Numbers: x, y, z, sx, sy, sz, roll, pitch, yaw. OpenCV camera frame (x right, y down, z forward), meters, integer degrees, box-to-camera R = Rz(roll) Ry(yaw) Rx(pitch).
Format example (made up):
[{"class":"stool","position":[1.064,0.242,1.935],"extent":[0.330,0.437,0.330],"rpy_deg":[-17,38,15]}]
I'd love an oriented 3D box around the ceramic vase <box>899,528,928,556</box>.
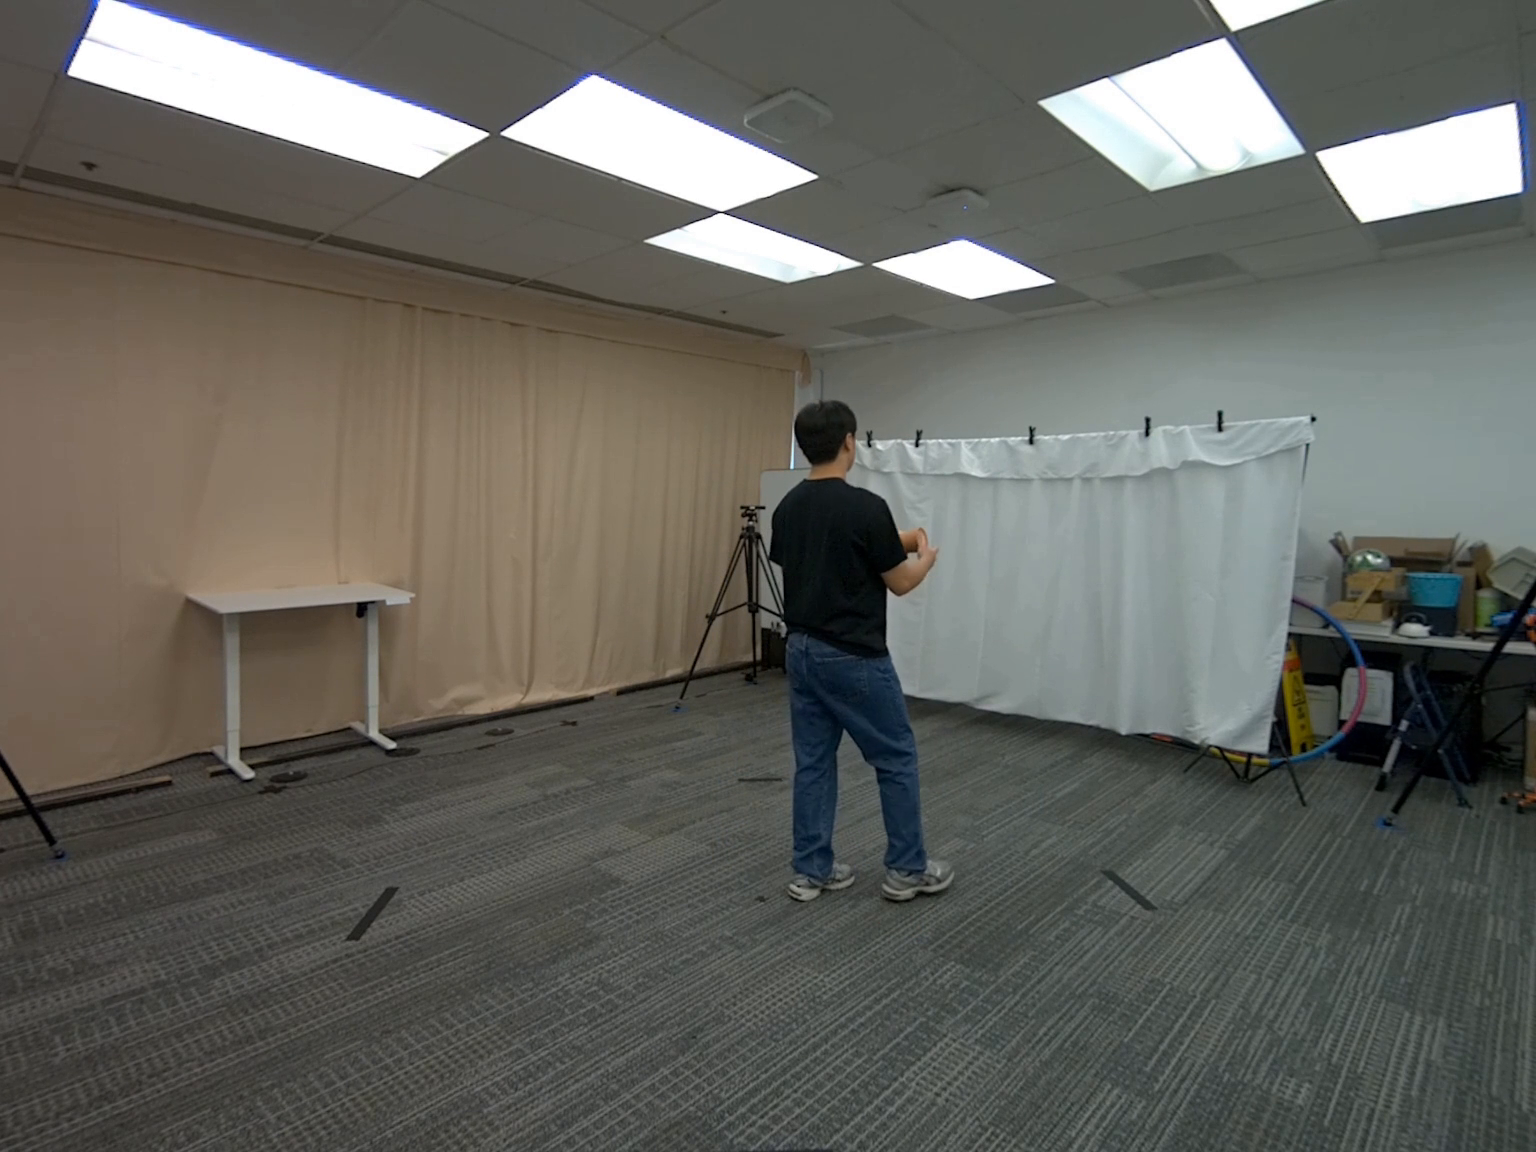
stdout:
[{"class":"ceramic vase","position":[0.501,-0.118,3.220],"extent":[0.225,0.157,0.133],"rpy_deg":[-13,16,33]}]
